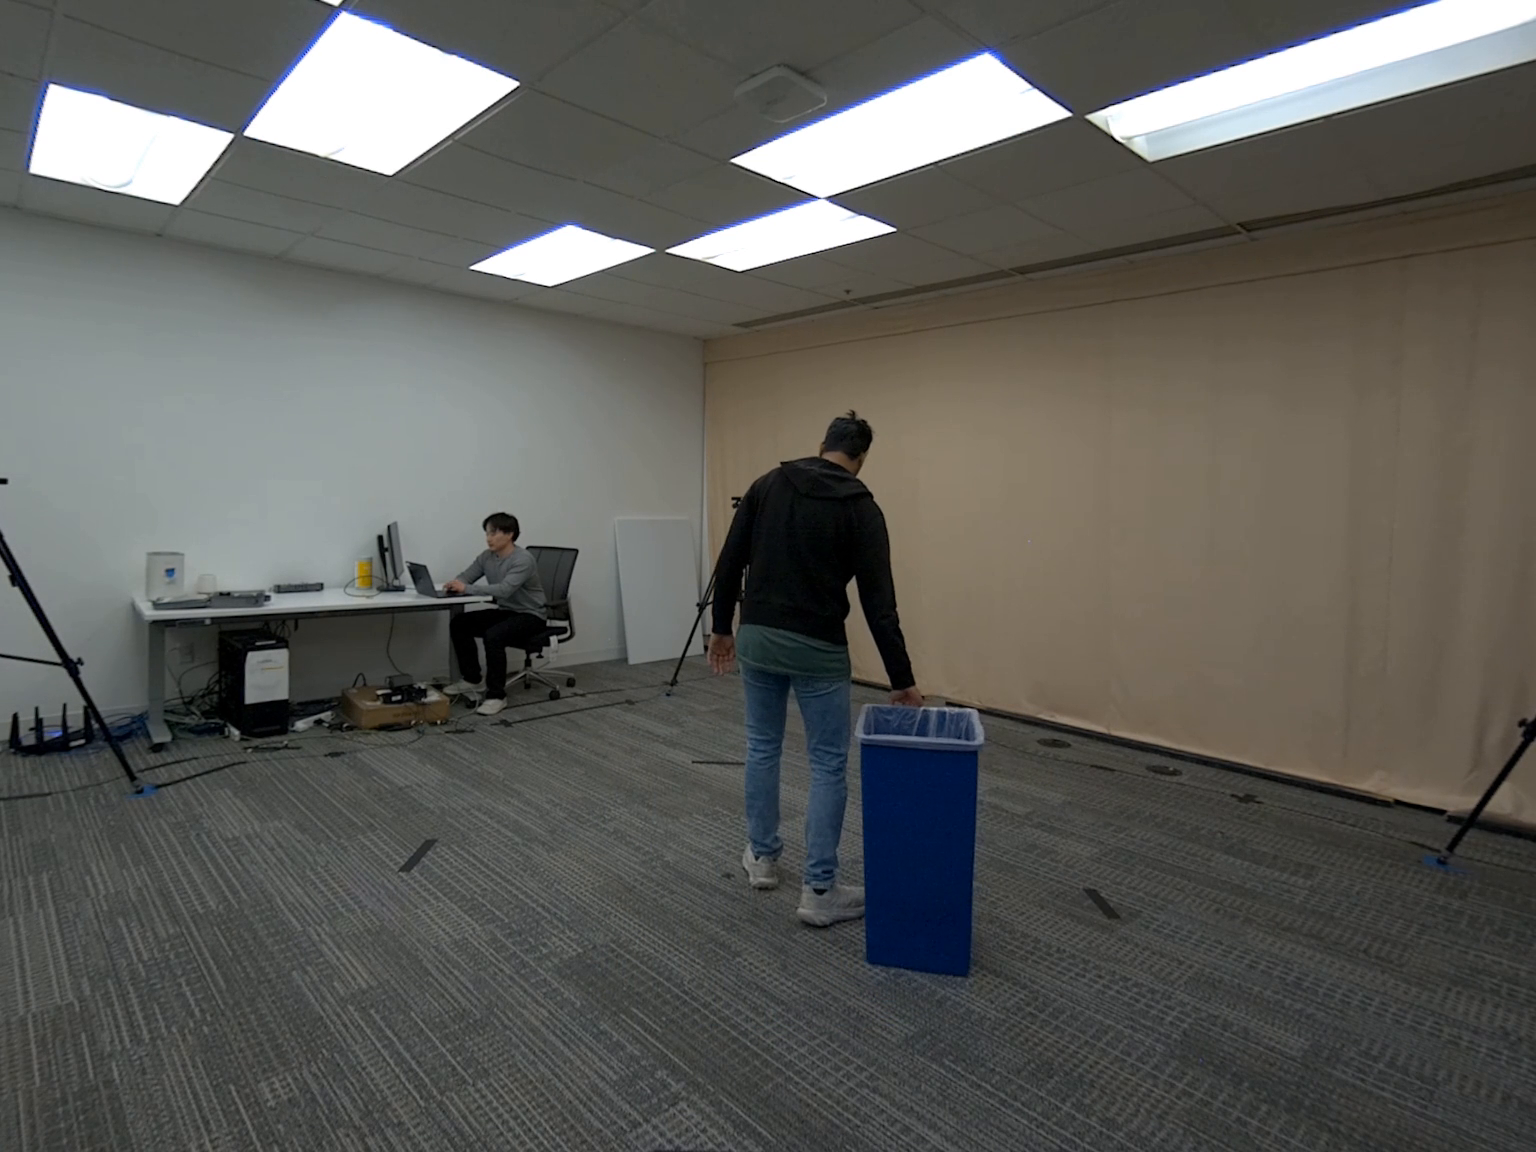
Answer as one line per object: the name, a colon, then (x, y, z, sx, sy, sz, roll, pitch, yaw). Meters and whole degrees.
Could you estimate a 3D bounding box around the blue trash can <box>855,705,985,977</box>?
blue trash can: (0.458, 0.804, 2.615, 0.378, 0.711, 0.375, 1, 5, 13)
